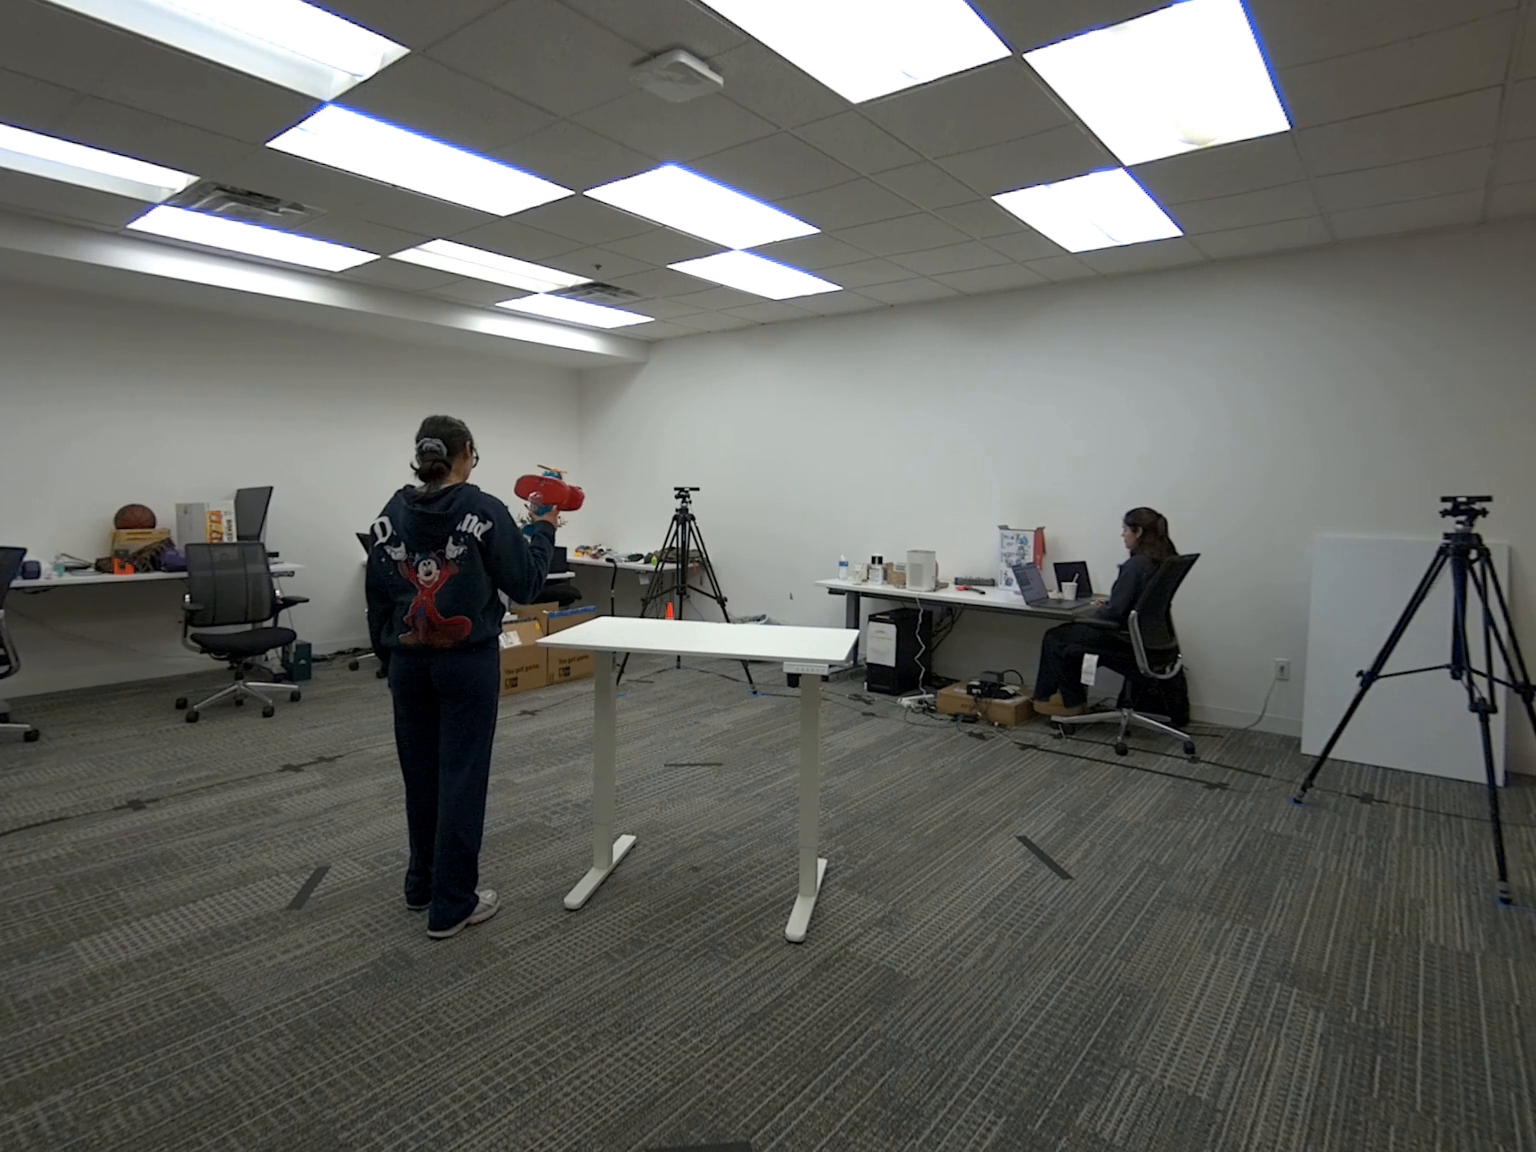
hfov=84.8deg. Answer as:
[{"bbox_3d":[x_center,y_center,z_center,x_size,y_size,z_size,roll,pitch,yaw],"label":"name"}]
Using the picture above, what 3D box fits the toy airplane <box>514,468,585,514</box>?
[{"bbox_3d":[-0.756,-0.242,2.955,0.254,0.266,0.150,-16,-33,19],"label":"toy airplane"}]
